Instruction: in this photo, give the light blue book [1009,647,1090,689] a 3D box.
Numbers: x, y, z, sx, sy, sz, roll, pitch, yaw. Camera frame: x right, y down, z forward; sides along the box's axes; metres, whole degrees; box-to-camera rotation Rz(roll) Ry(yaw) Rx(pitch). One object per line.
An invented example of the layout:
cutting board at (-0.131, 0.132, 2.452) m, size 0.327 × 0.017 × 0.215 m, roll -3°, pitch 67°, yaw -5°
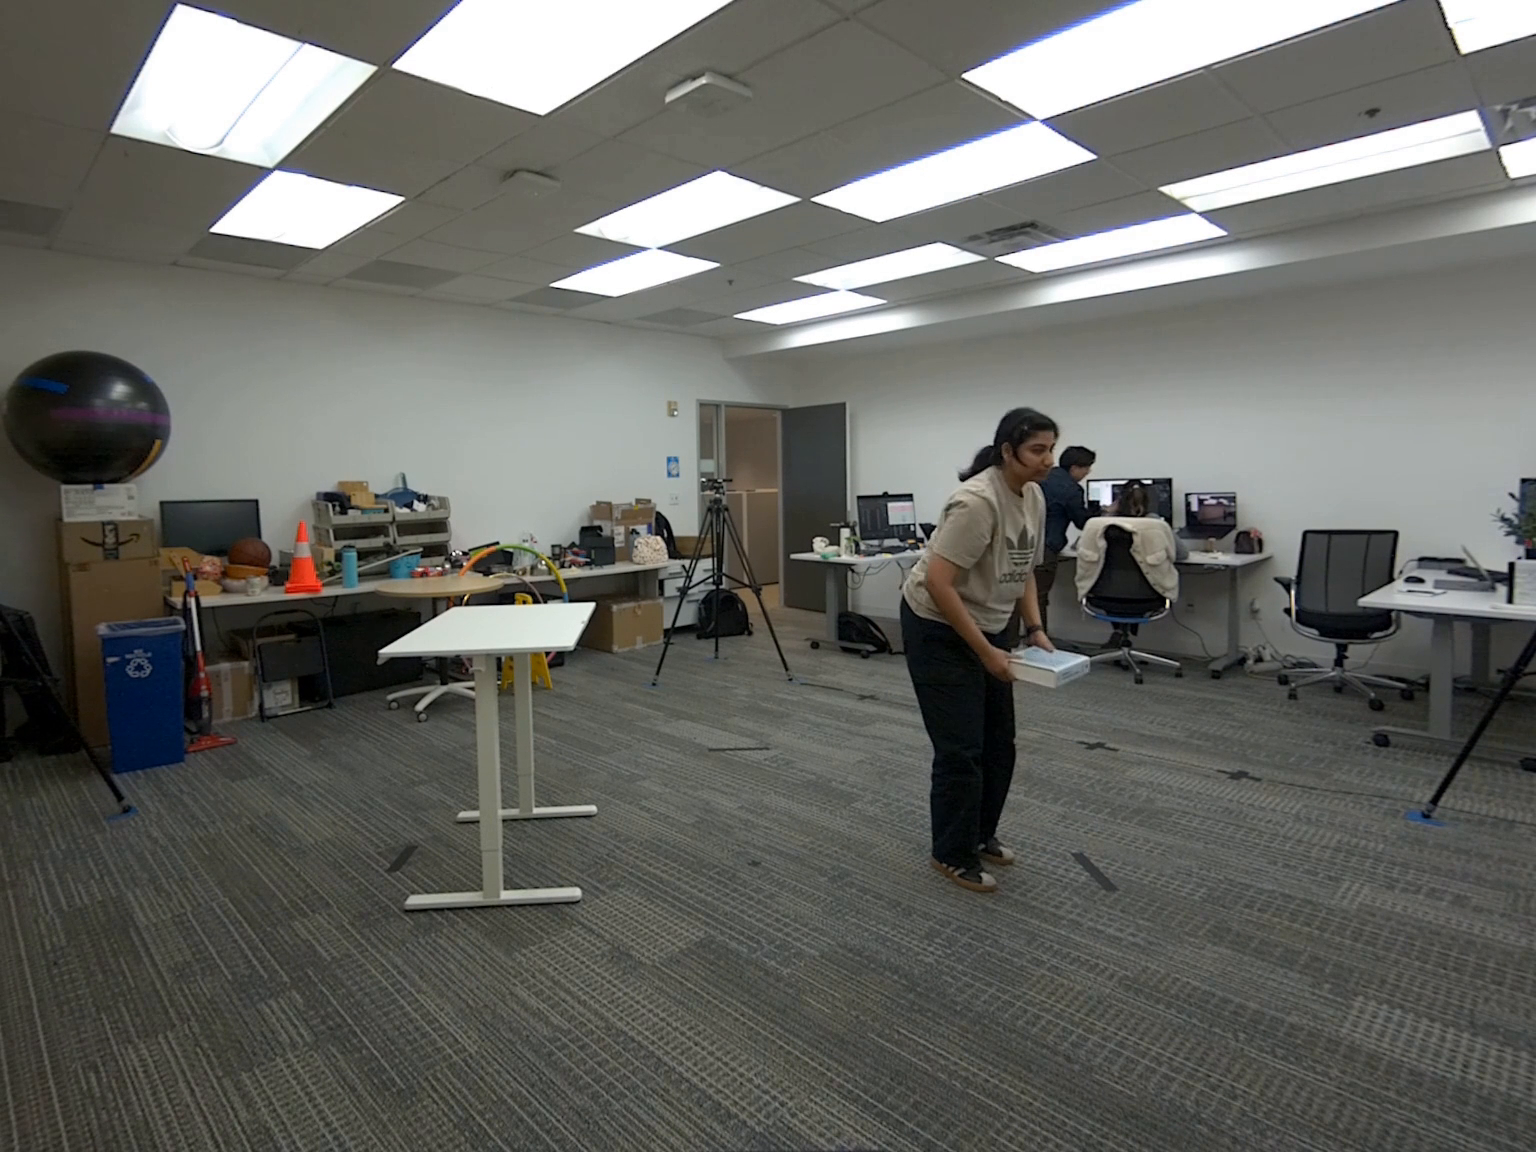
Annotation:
light blue book at (0.908, 0.304, 2.822) m, size 0.198 × 0.058 × 0.254 m, roll 10°, pitch 13°, yaw 42°
